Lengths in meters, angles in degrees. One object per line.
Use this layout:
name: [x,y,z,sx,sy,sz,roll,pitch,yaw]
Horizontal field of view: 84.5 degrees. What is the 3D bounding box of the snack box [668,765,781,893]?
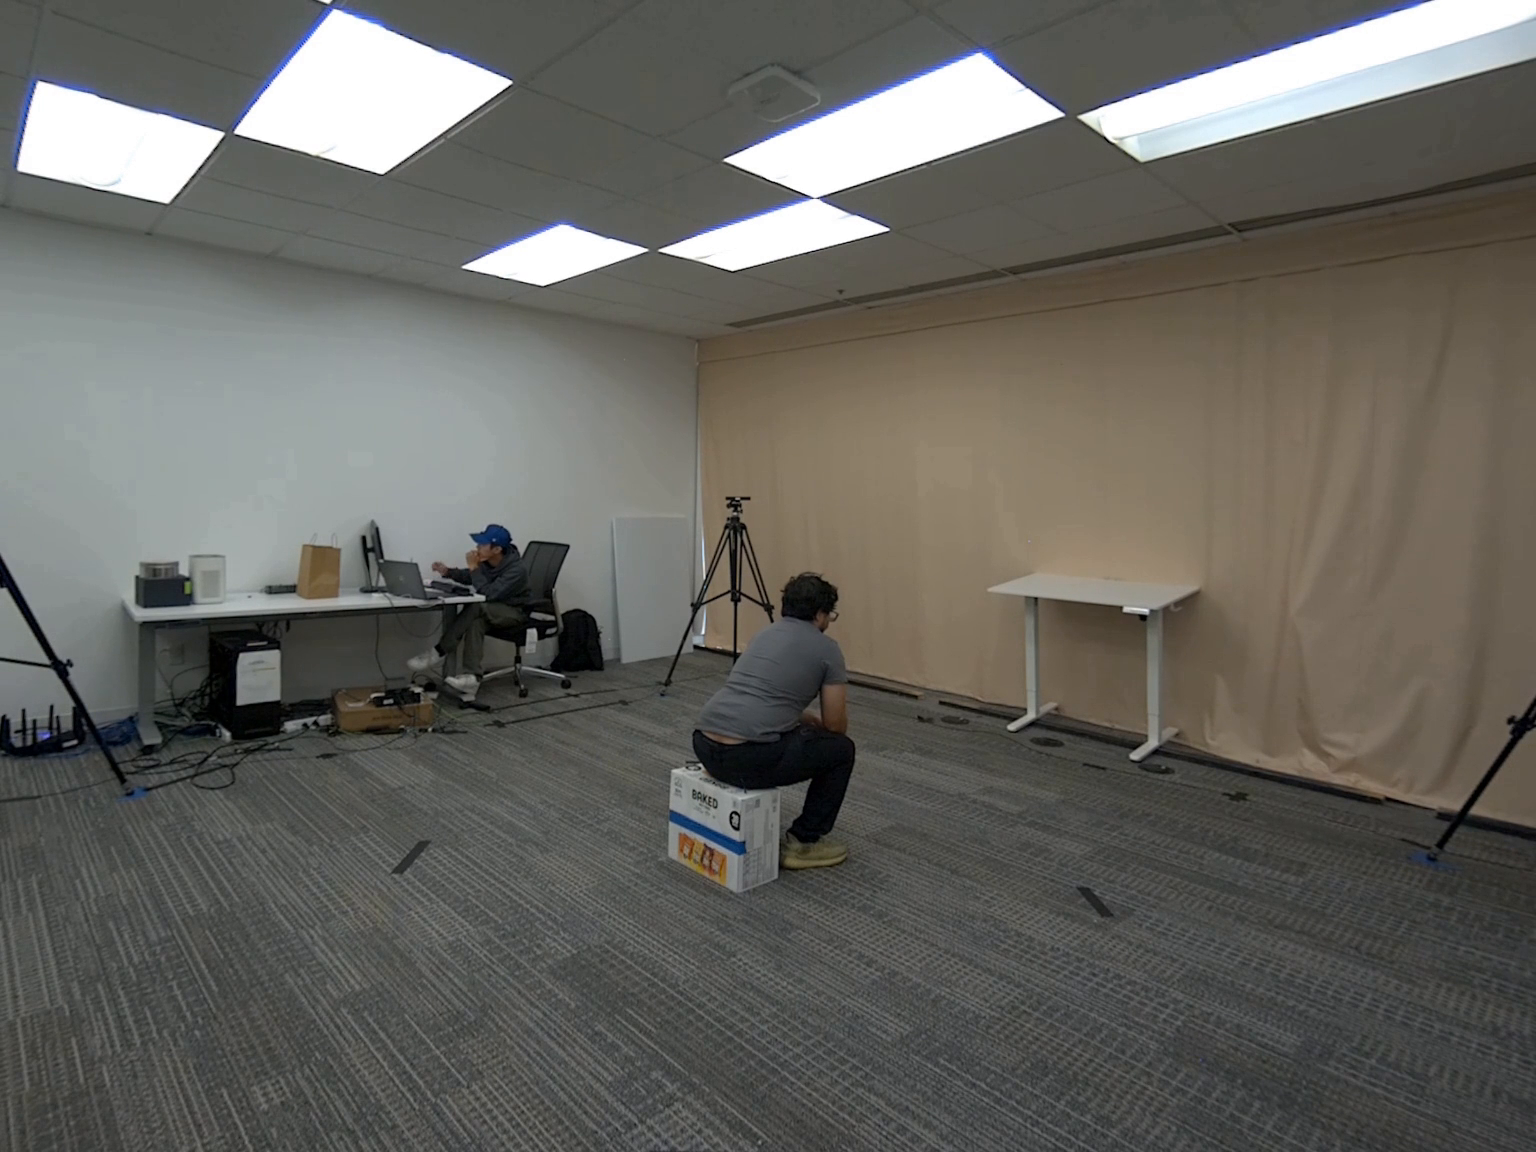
snack box: [-0.178,0.934,3.166,0.201,0.339,0.416,-1,5,-44]
